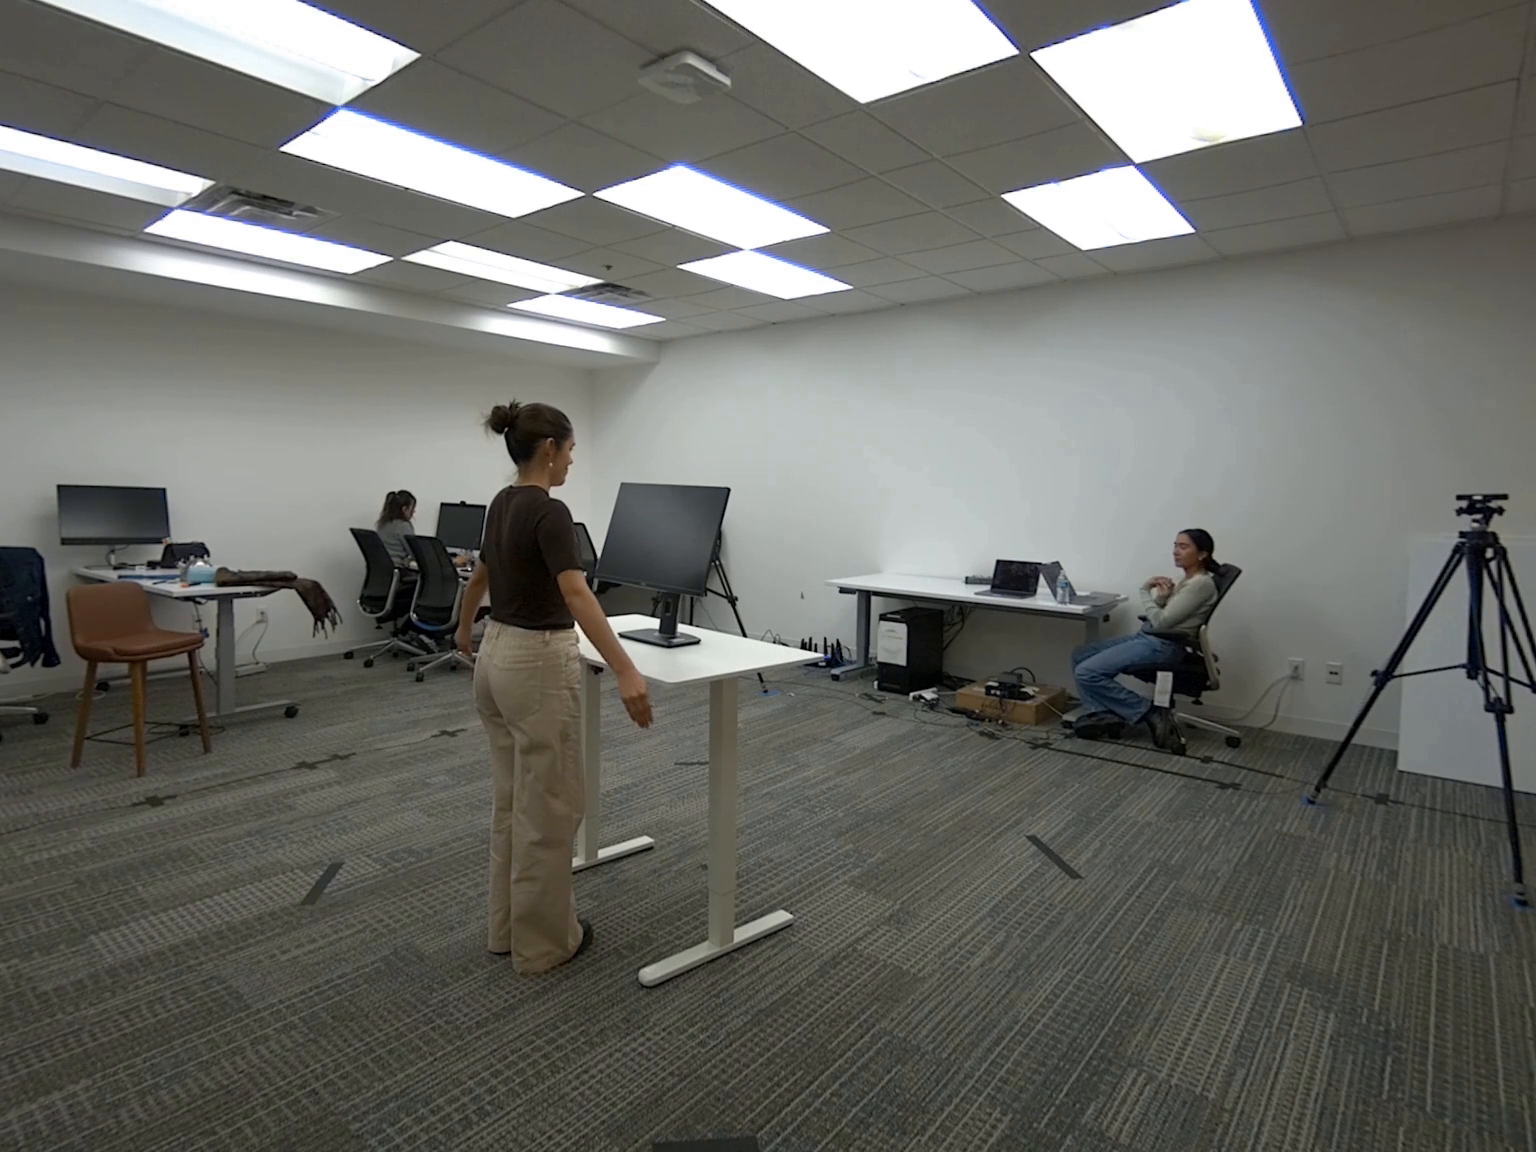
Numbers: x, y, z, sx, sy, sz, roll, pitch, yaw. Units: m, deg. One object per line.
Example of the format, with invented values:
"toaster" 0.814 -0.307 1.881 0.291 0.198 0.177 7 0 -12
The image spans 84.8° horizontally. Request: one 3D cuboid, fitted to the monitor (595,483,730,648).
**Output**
"monitor" -0.360 -0.045 2.818 0.558 0.522 0.181 7 2 40
